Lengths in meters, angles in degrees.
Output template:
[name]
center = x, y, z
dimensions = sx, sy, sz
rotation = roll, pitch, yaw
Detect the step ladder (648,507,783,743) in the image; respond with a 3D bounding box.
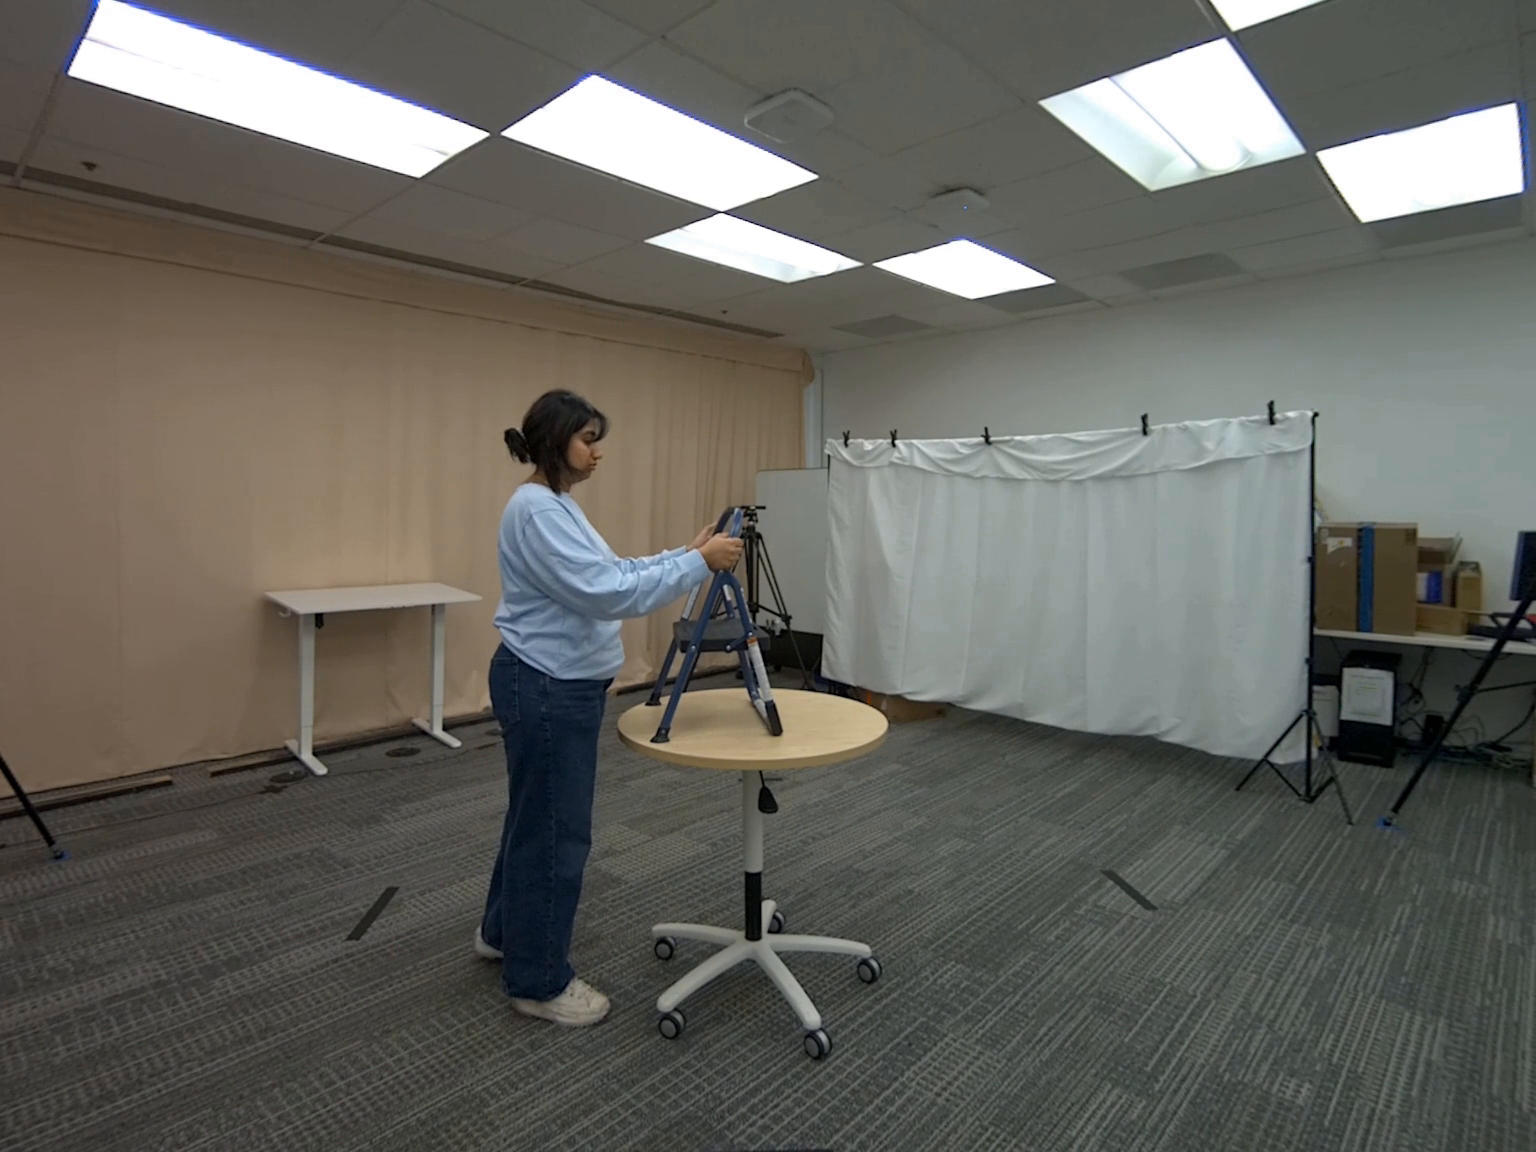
[step ladder]
center = -0.166, 0.105, 2.379
dimensions = 0.346, 0.605, 0.436
rotation = -1, 4, -10
